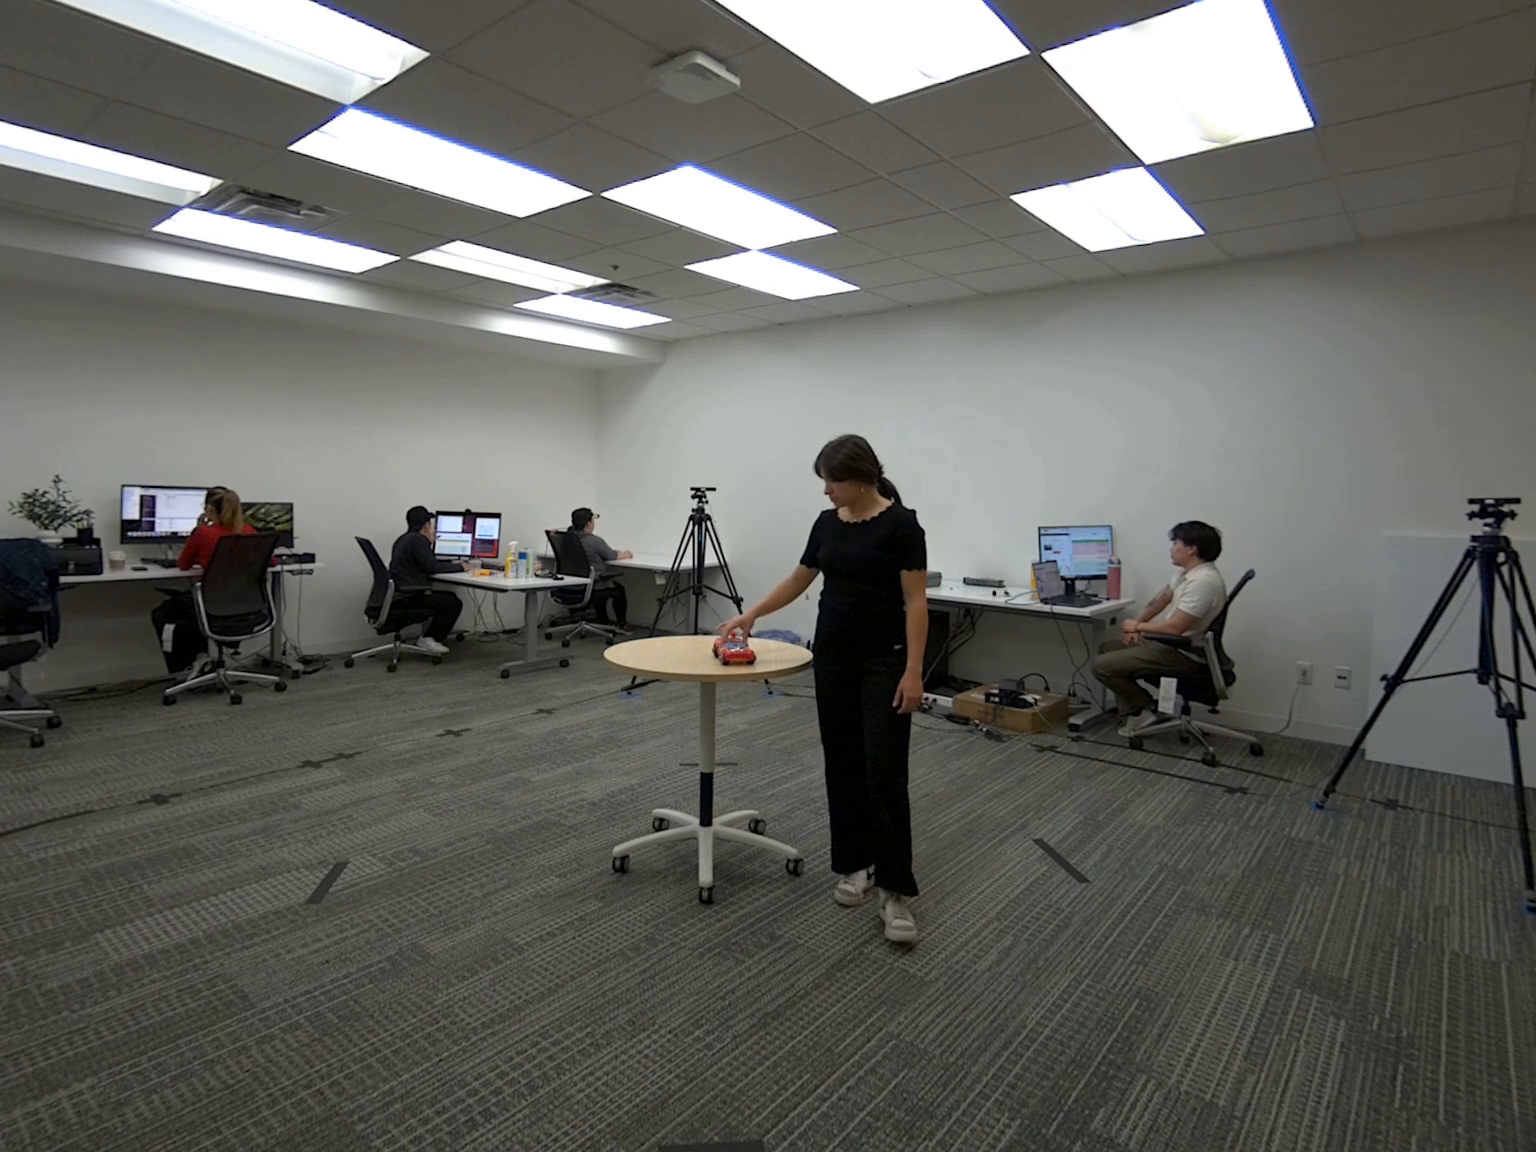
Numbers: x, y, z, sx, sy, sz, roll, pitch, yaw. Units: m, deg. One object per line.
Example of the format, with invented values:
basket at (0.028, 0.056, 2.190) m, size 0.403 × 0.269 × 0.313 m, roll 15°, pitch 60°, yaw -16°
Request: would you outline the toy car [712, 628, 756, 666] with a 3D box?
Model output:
toy car at (-0.135, 0.262, 3.010) m, size 0.129 × 0.082 × 0.261 m, roll -1°, pitch 16°, yaw -13°
